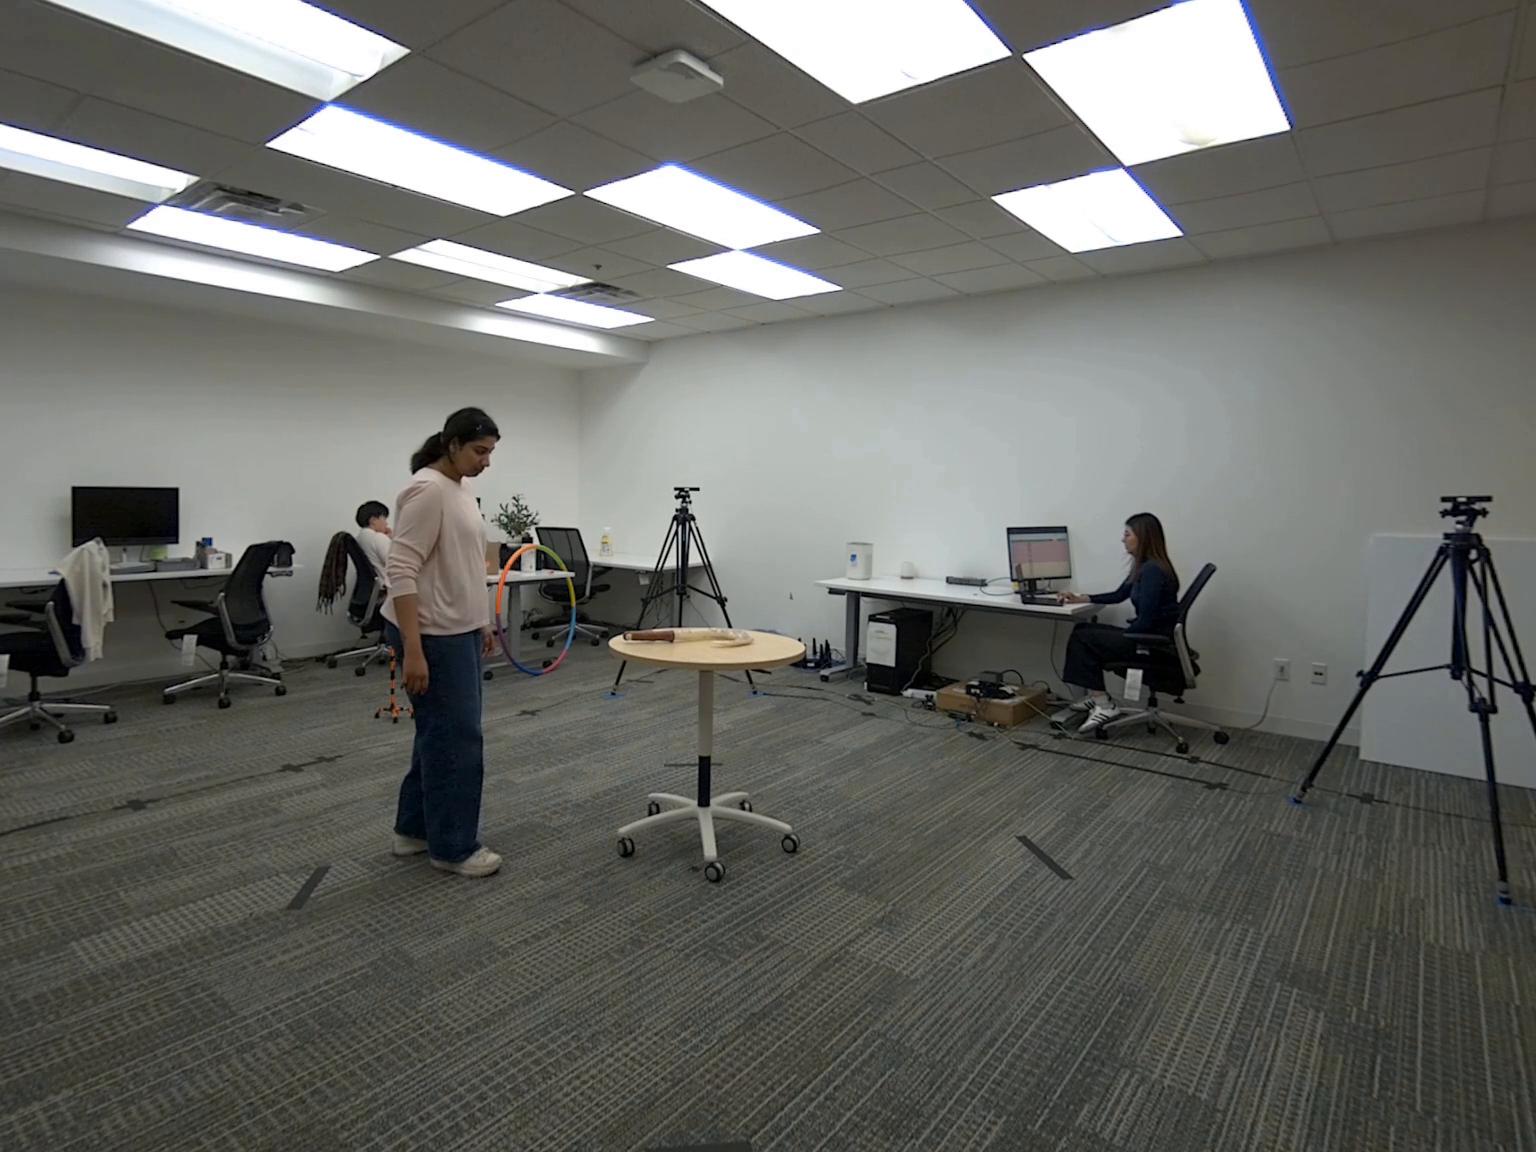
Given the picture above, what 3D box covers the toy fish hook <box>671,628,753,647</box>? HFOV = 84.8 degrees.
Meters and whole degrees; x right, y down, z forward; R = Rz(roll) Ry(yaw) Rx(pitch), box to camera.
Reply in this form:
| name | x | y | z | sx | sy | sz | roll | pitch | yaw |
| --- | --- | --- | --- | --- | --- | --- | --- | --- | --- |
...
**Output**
| name | x | y | z | sx | sy | sz | roll | pitch | yaw |
| --- | --- | --- | --- | --- | --- | --- | --- | --- | --- |
| toy fish hook | -0.317 | 0.243 | 3.311 | 0.497 | 0.048 | 0.229 | 0 | 5 | -18 |
